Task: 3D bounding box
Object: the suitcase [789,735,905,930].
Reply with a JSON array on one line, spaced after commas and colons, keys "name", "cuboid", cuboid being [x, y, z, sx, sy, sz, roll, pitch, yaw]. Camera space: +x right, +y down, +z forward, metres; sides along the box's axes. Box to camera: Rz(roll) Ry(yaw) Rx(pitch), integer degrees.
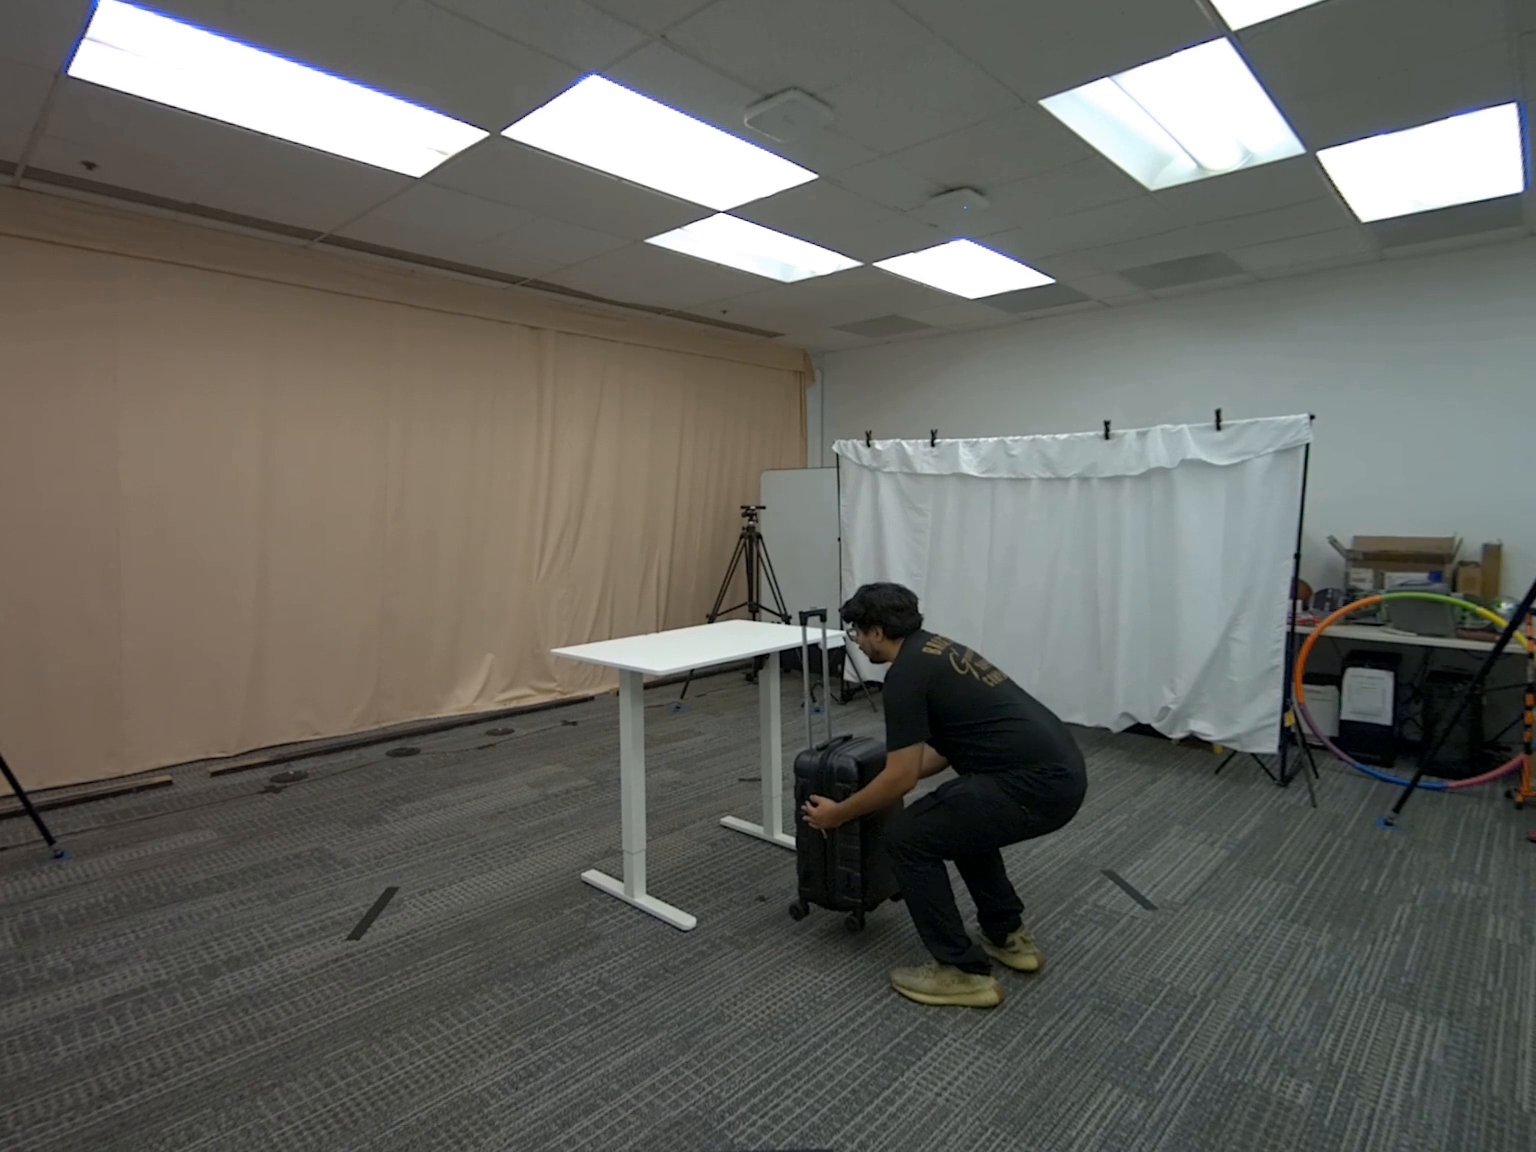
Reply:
[{"name": "suitcase", "cuboid": [0.269, 0.617, 2.756, 0.265, 0.978, 0.372, -1, 0, 37]}]
